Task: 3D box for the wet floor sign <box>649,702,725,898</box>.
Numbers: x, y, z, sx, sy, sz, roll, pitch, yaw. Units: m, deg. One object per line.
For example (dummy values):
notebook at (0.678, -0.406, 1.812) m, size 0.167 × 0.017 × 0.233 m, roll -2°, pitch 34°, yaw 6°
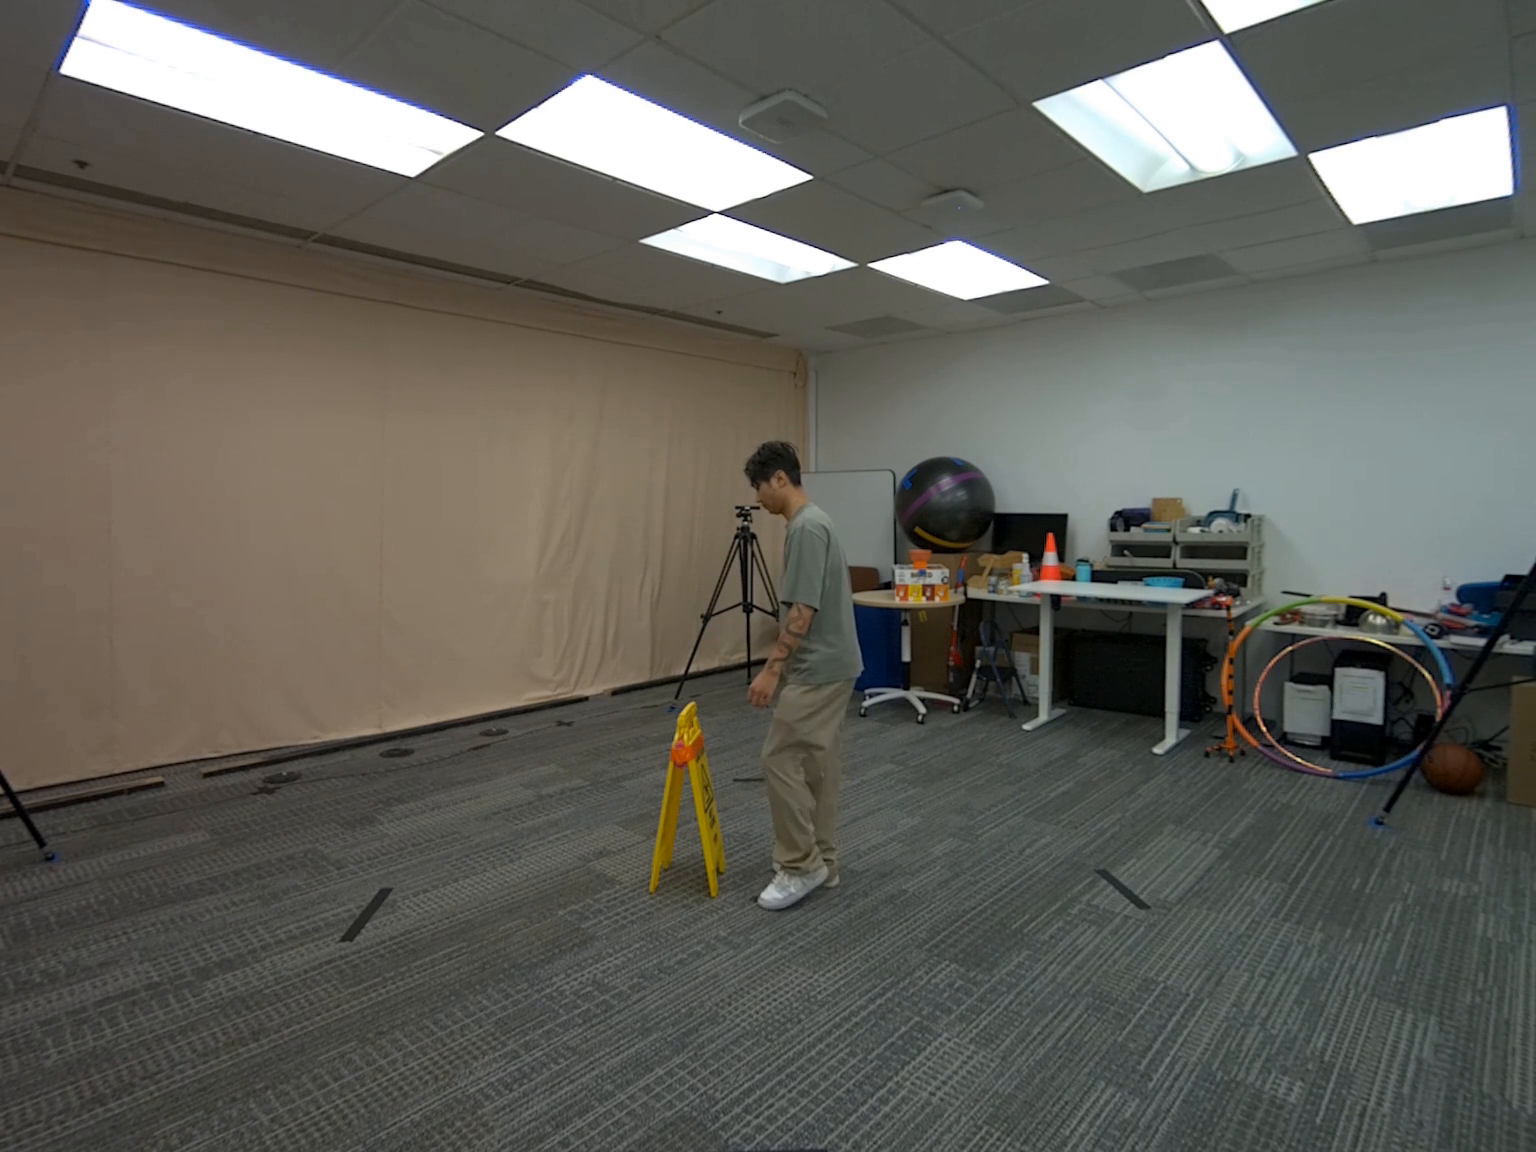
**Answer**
wet floor sign at (-0.298, 0.815, 3.120) m, size 0.293 × 0.645 × 0.280 m, roll -1°, pitch 2°, yaw 9°
